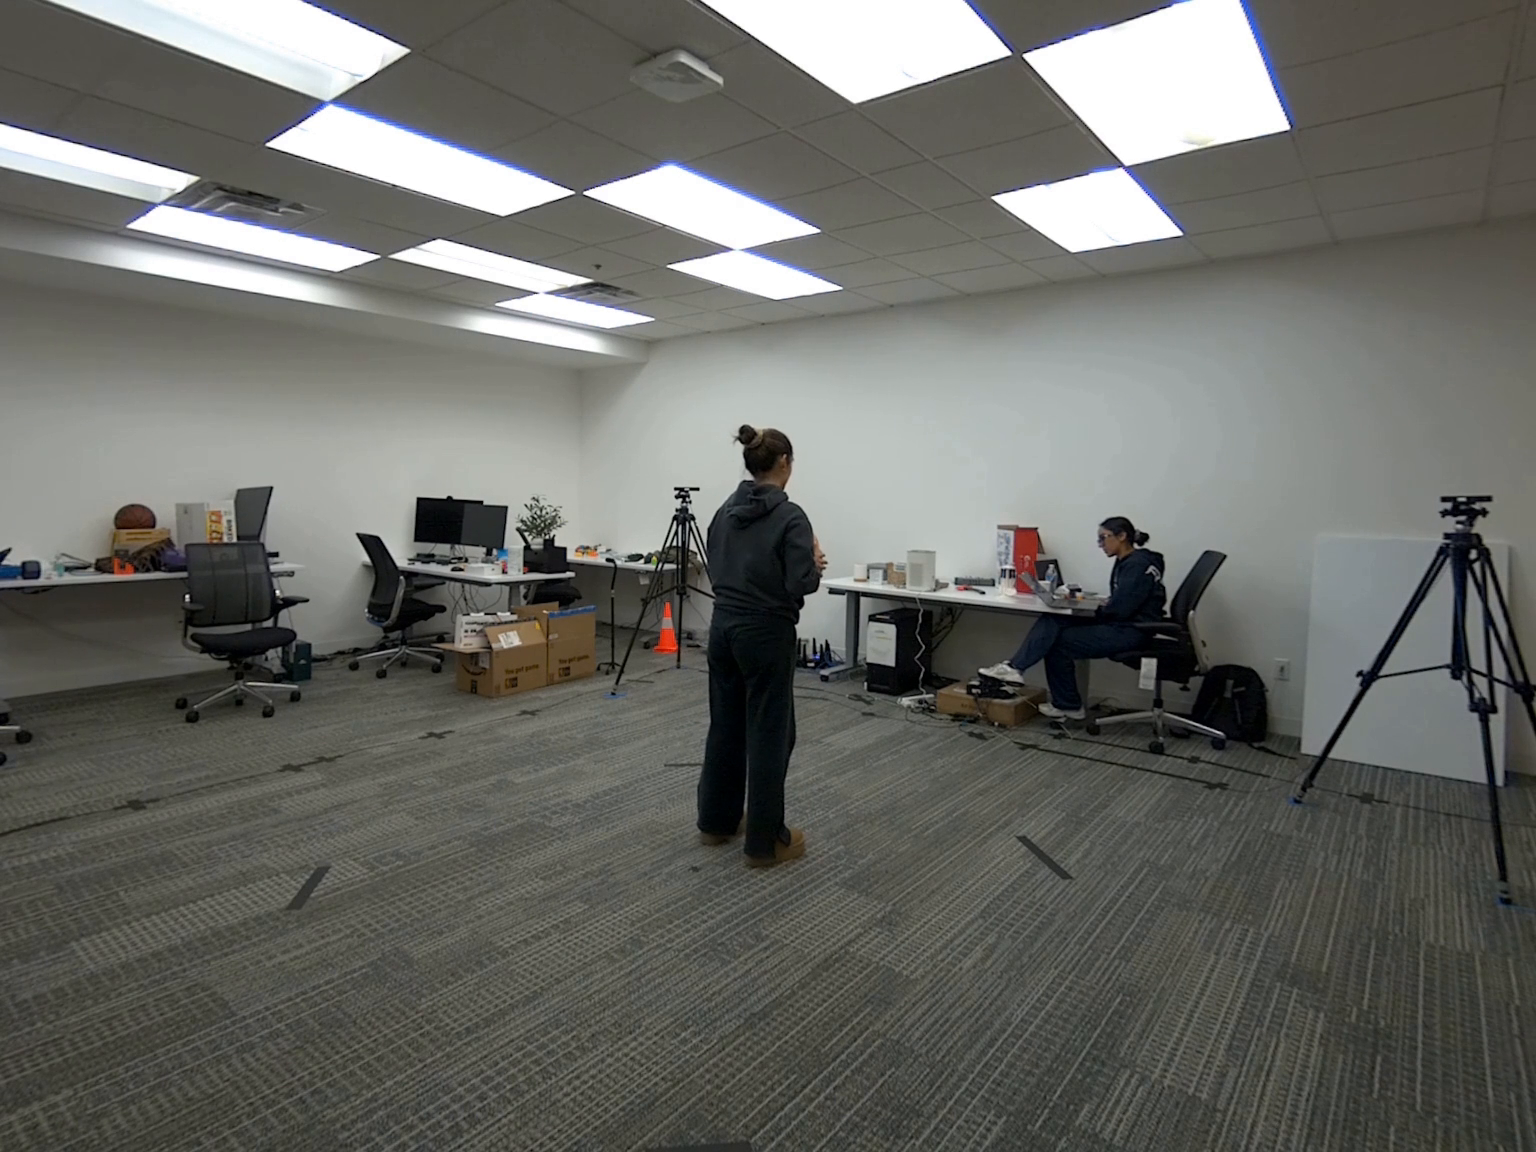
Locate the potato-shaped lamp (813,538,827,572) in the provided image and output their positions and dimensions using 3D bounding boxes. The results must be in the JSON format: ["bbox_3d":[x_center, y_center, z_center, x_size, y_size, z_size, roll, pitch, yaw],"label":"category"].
[{"bbox_3d":[0.133,-0.089,3.374,0.166,0.197,0.170,1,5,-40],"label":"potato-shaped lamp"}]
